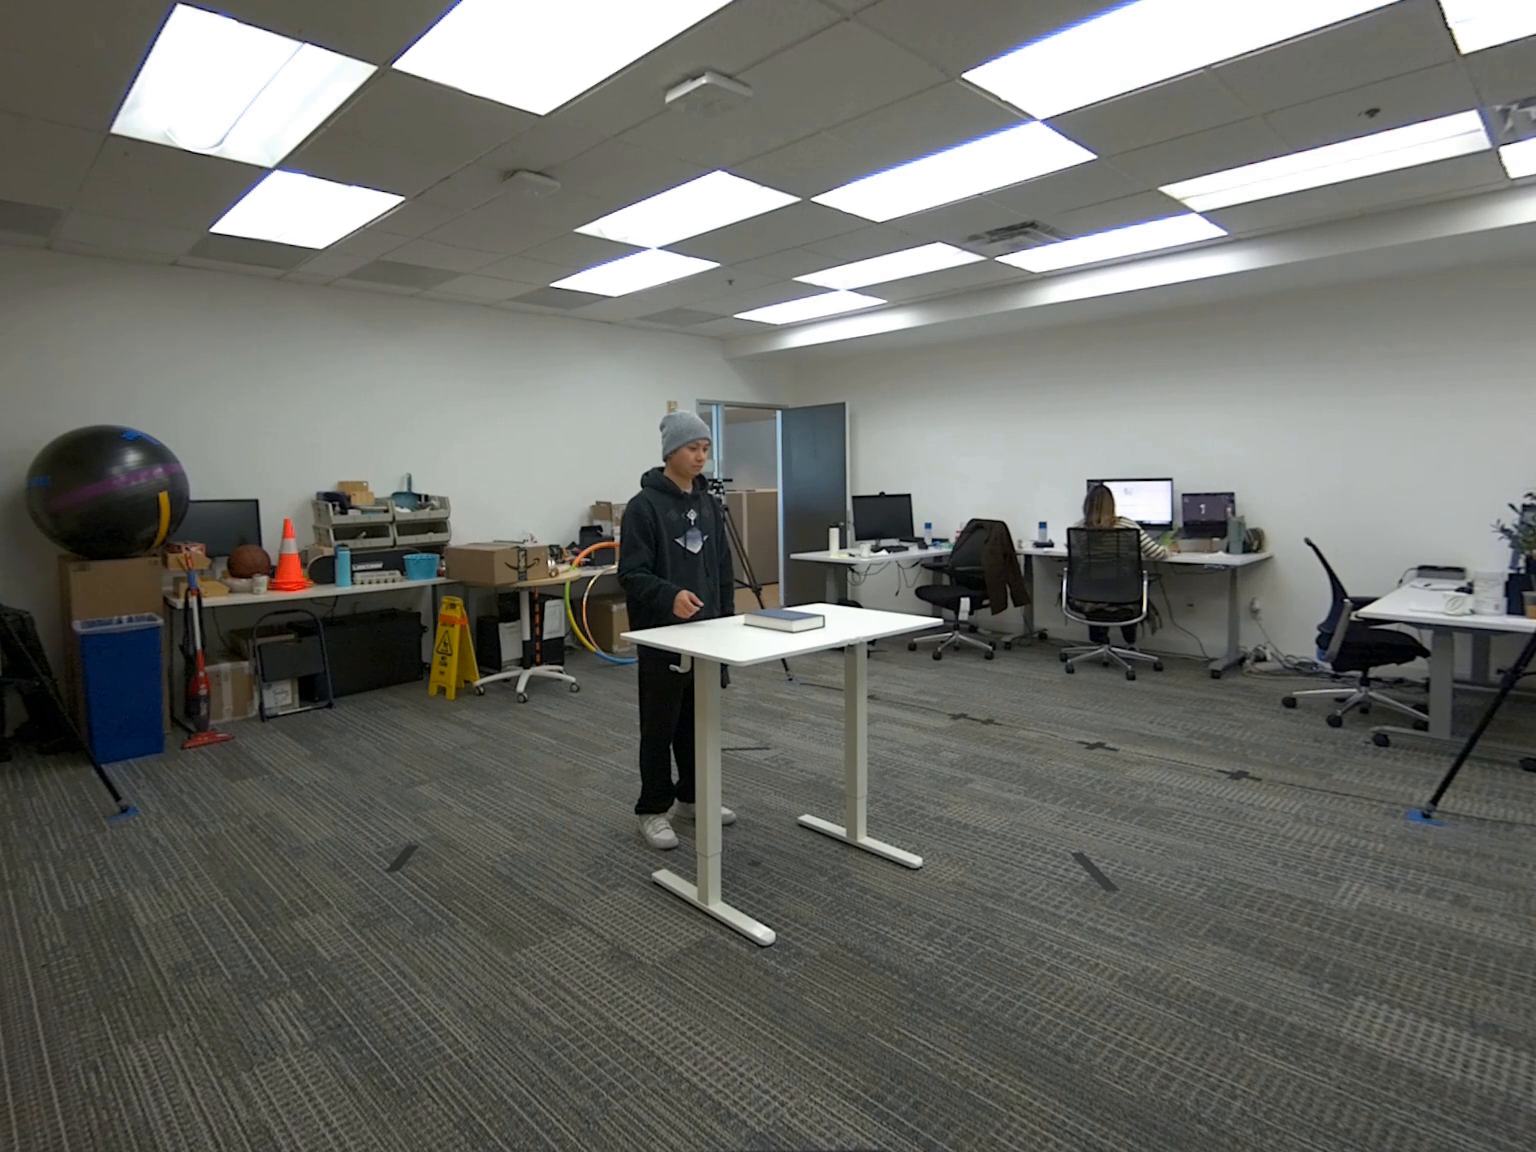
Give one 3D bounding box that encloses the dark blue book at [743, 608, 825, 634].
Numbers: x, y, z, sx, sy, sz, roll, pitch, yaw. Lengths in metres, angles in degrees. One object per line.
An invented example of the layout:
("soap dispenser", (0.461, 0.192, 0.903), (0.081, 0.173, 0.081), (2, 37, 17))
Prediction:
("dark blue book", (0.063, 0.155, 2.973), (0.159, 0.045, 0.253), (-6, 8, -44))
